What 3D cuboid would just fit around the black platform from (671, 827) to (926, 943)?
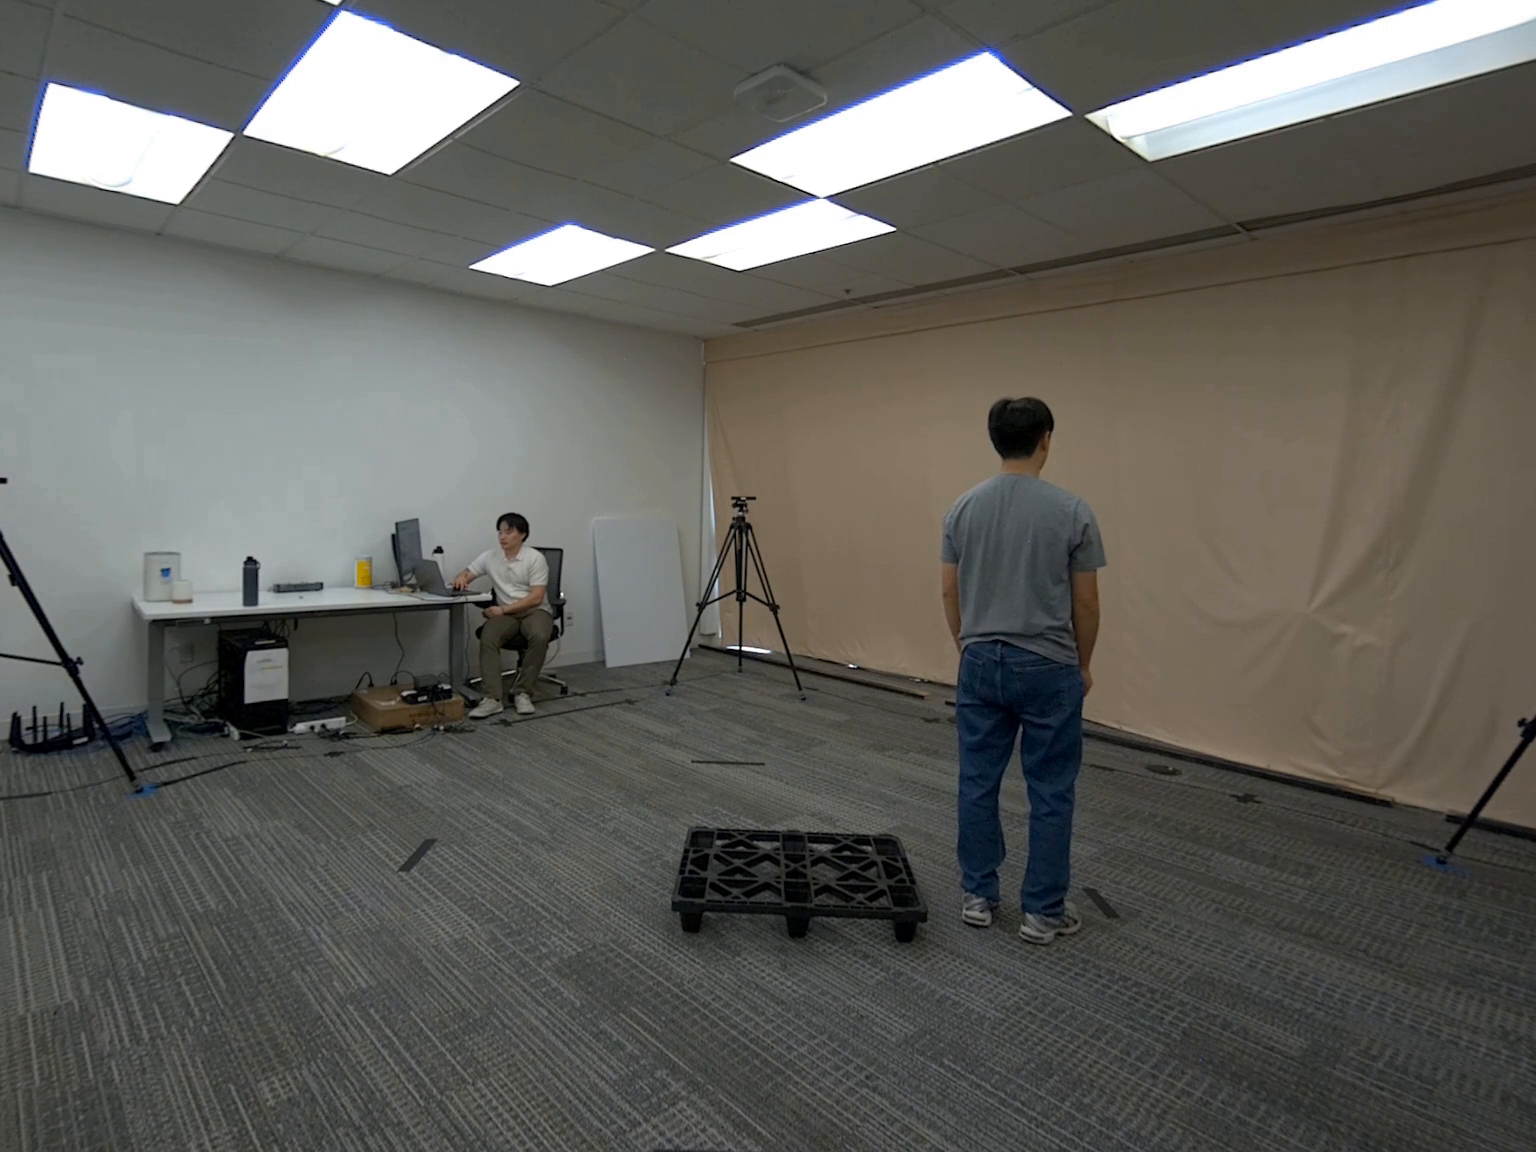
[{"bbox_3d":[0.088,1.060,2.907,0.807,0.143,0.605,2,4,2],"label":"black platform"}]
